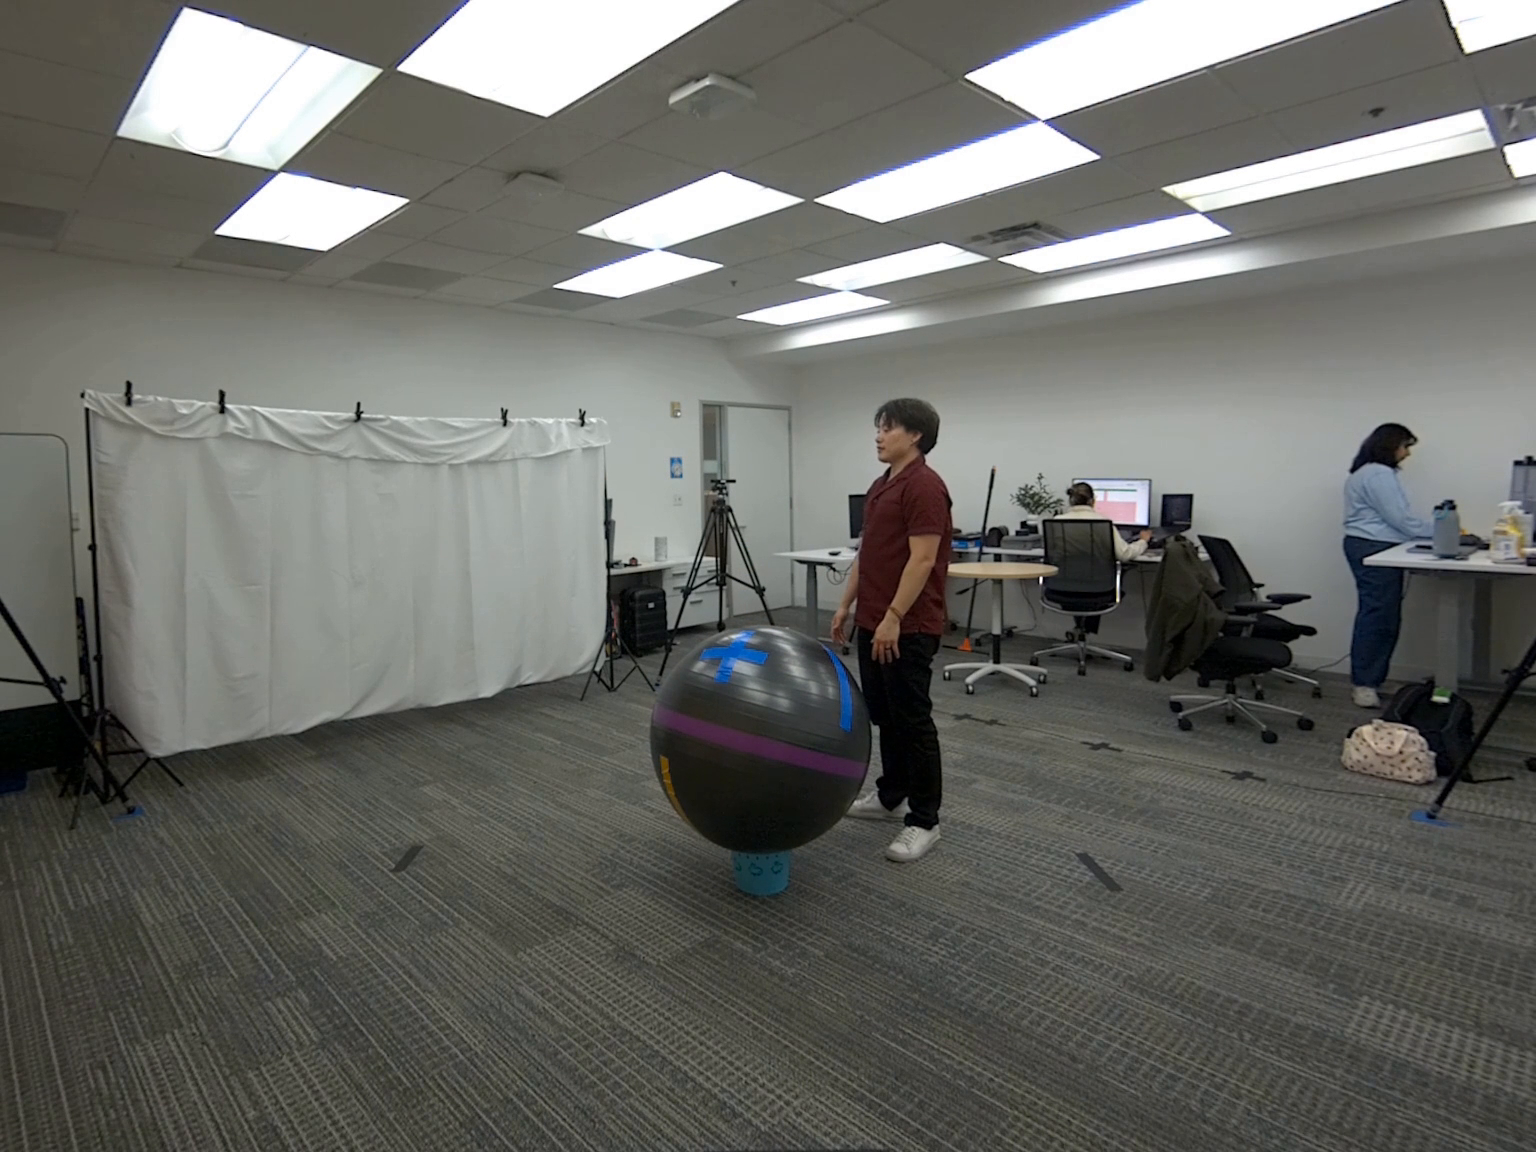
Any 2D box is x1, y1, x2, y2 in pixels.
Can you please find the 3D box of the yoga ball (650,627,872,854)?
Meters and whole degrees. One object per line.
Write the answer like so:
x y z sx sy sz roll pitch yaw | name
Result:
-0.026 0.549 2.948 0.757 0.755 0.762 -1 5 -2 | yoga ball
